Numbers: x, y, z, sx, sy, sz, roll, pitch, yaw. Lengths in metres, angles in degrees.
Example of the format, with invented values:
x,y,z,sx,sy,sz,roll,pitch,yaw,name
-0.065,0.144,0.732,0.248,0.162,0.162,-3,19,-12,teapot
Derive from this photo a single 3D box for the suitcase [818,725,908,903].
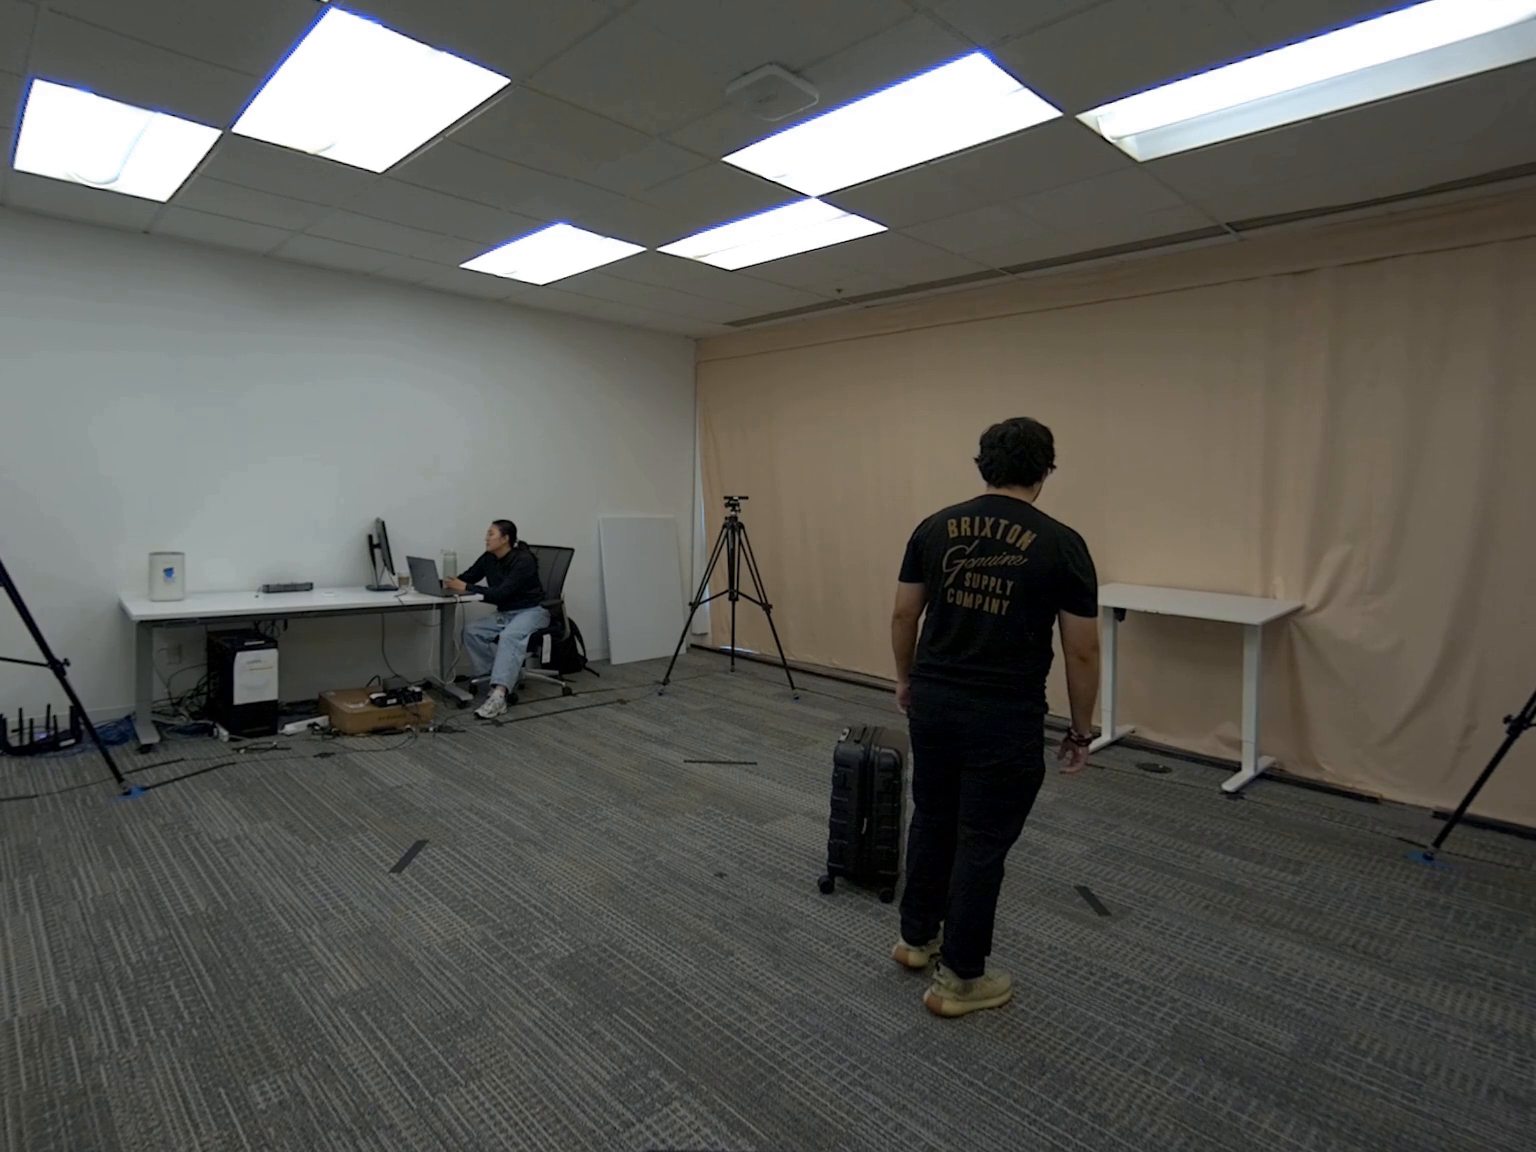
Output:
x,y,z,sx,sy,sz,roll,pitch,yaw,name
0.364,0.841,3.091,0.251,0.548,0.371,4,4,14,suitcase
